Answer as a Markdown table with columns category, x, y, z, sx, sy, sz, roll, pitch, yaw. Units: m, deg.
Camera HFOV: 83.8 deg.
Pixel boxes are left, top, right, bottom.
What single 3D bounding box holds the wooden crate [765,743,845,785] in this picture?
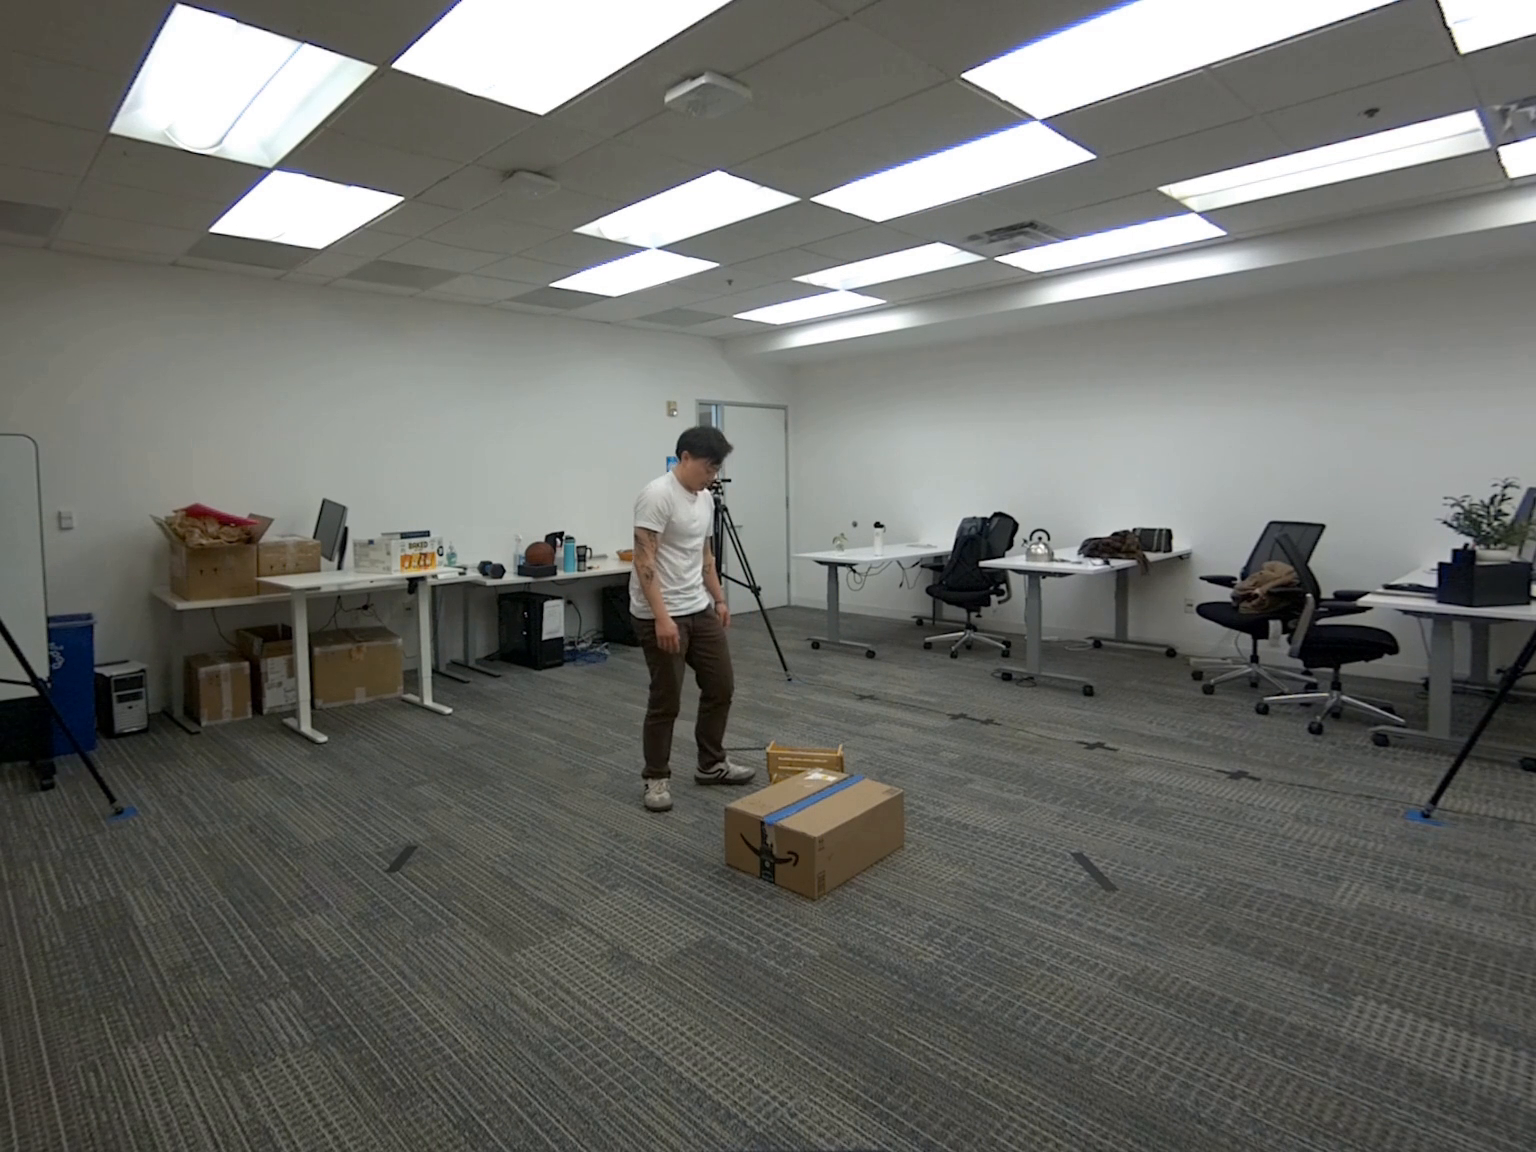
| category | x | y | z | sx | sy | sz | roll | pitch | yaw |
| --- | --- | --- | --- | --- | --- | --- | --- | --- | --- |
| wooden crate | 0.172 | 0.843 | 3.694 | 0.328 | 0.272 | 0.300 | 0 | 6 | 10 |
